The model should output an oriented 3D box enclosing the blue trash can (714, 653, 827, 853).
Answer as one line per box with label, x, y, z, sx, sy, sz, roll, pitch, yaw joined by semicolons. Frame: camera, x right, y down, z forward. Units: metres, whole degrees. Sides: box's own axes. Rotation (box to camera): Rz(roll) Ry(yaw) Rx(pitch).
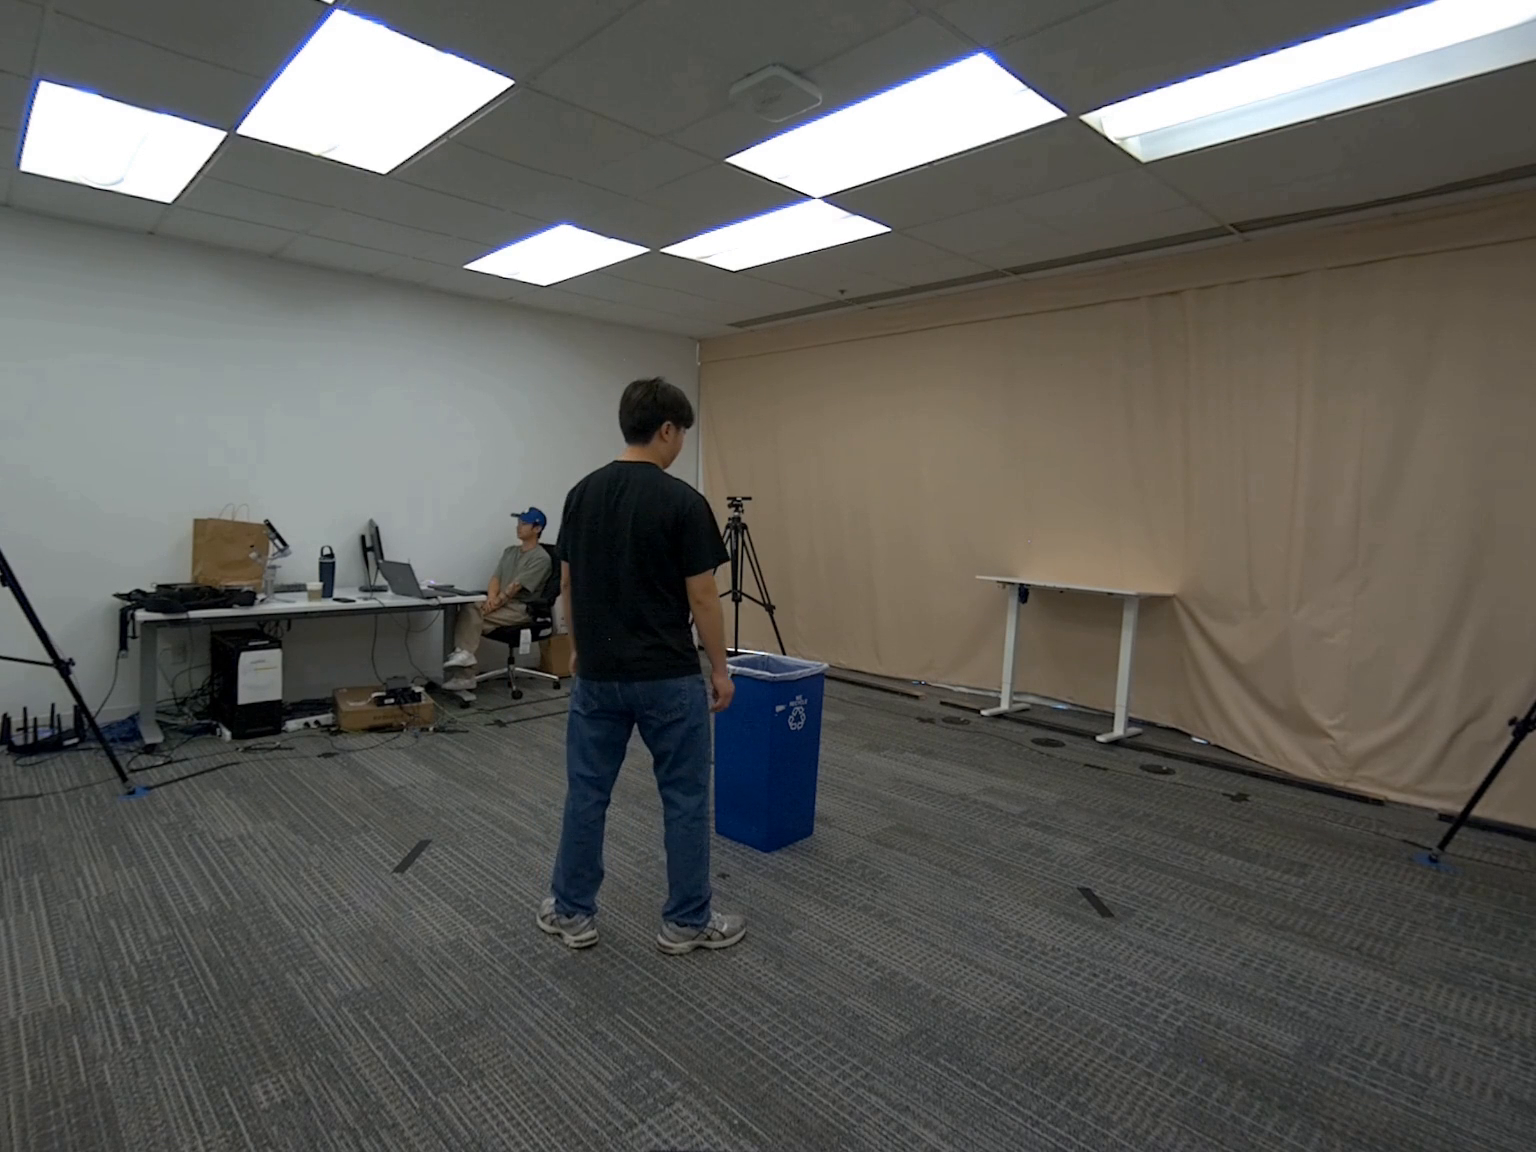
blue trash can;-0.008;0.718;3.508;0.388;0.712;0.365;5;4;42
